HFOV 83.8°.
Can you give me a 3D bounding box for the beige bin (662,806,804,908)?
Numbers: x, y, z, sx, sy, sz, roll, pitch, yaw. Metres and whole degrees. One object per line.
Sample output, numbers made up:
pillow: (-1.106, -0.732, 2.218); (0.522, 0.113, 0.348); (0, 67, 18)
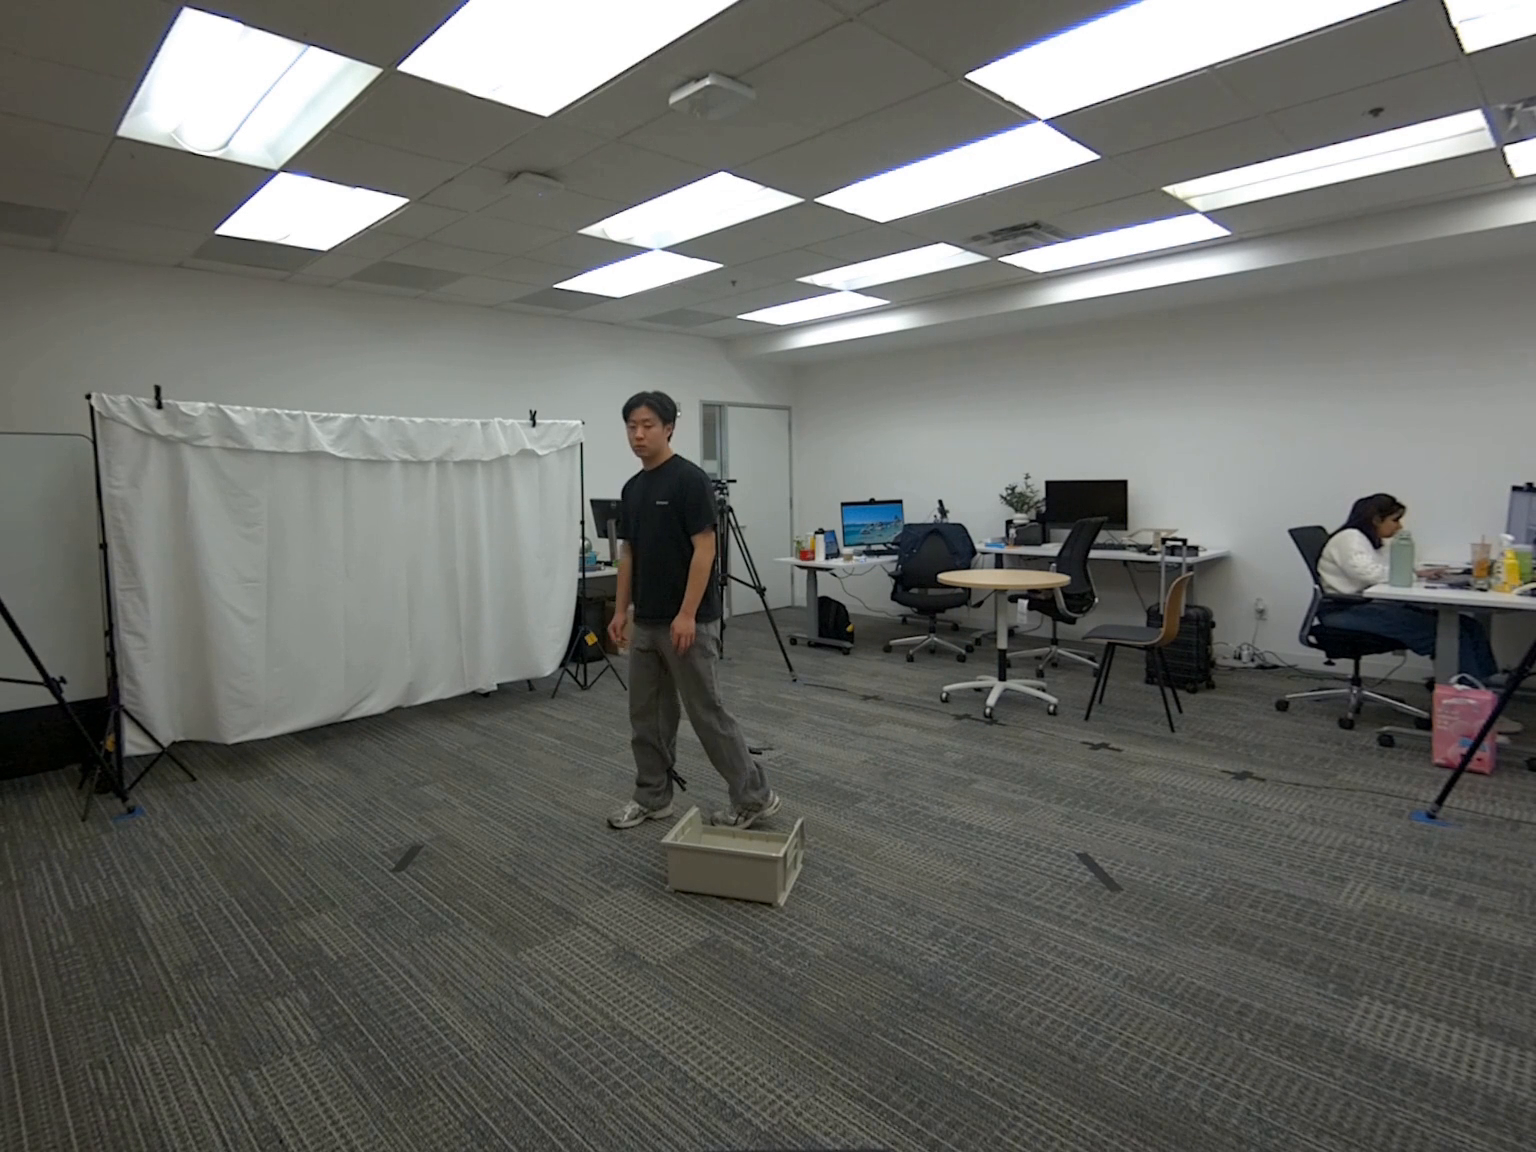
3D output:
beige bin: (-0.110, 0.971, 3.010); (0.429, 0.188, 0.373); (1, 7, 16)
